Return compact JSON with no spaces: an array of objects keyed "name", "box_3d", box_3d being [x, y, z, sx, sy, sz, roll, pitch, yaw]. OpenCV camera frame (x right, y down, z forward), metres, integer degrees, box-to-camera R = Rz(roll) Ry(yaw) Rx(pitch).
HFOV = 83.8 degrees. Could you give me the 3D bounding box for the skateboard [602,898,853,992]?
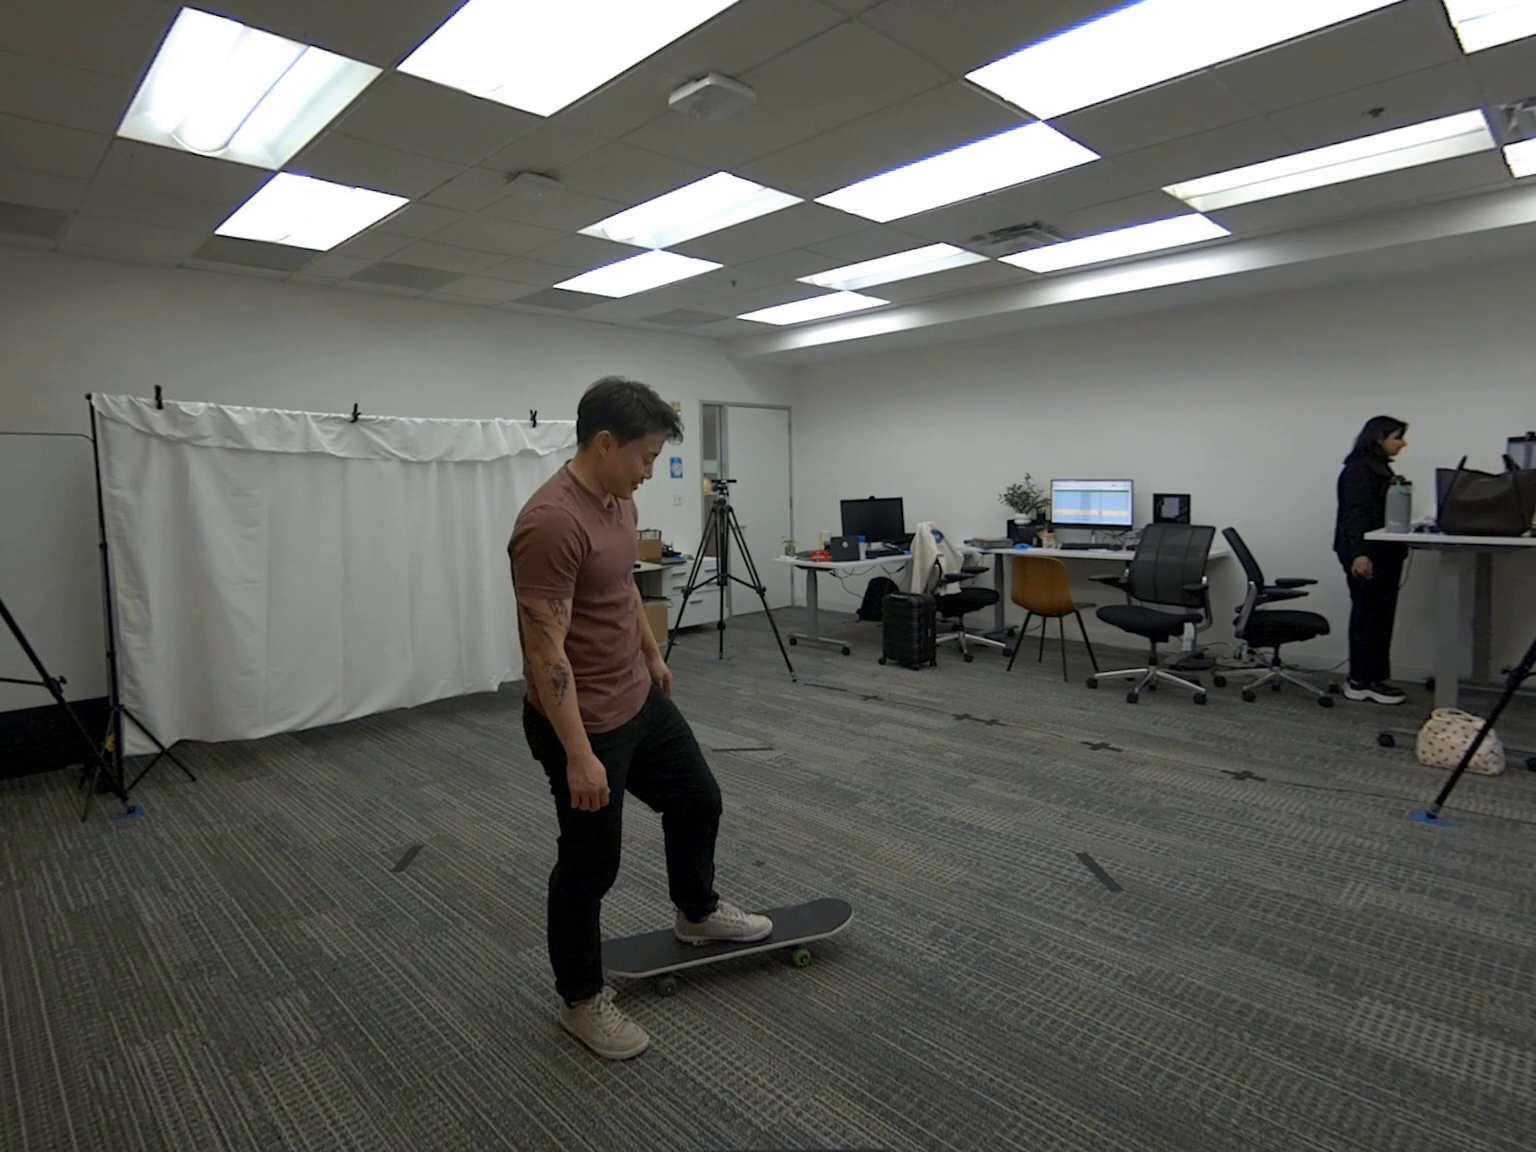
[{"name":"skateboard","box_3d":[-0.117,1.064,2.467,0.773,0.110,0.197,-3,6,-17]}]
